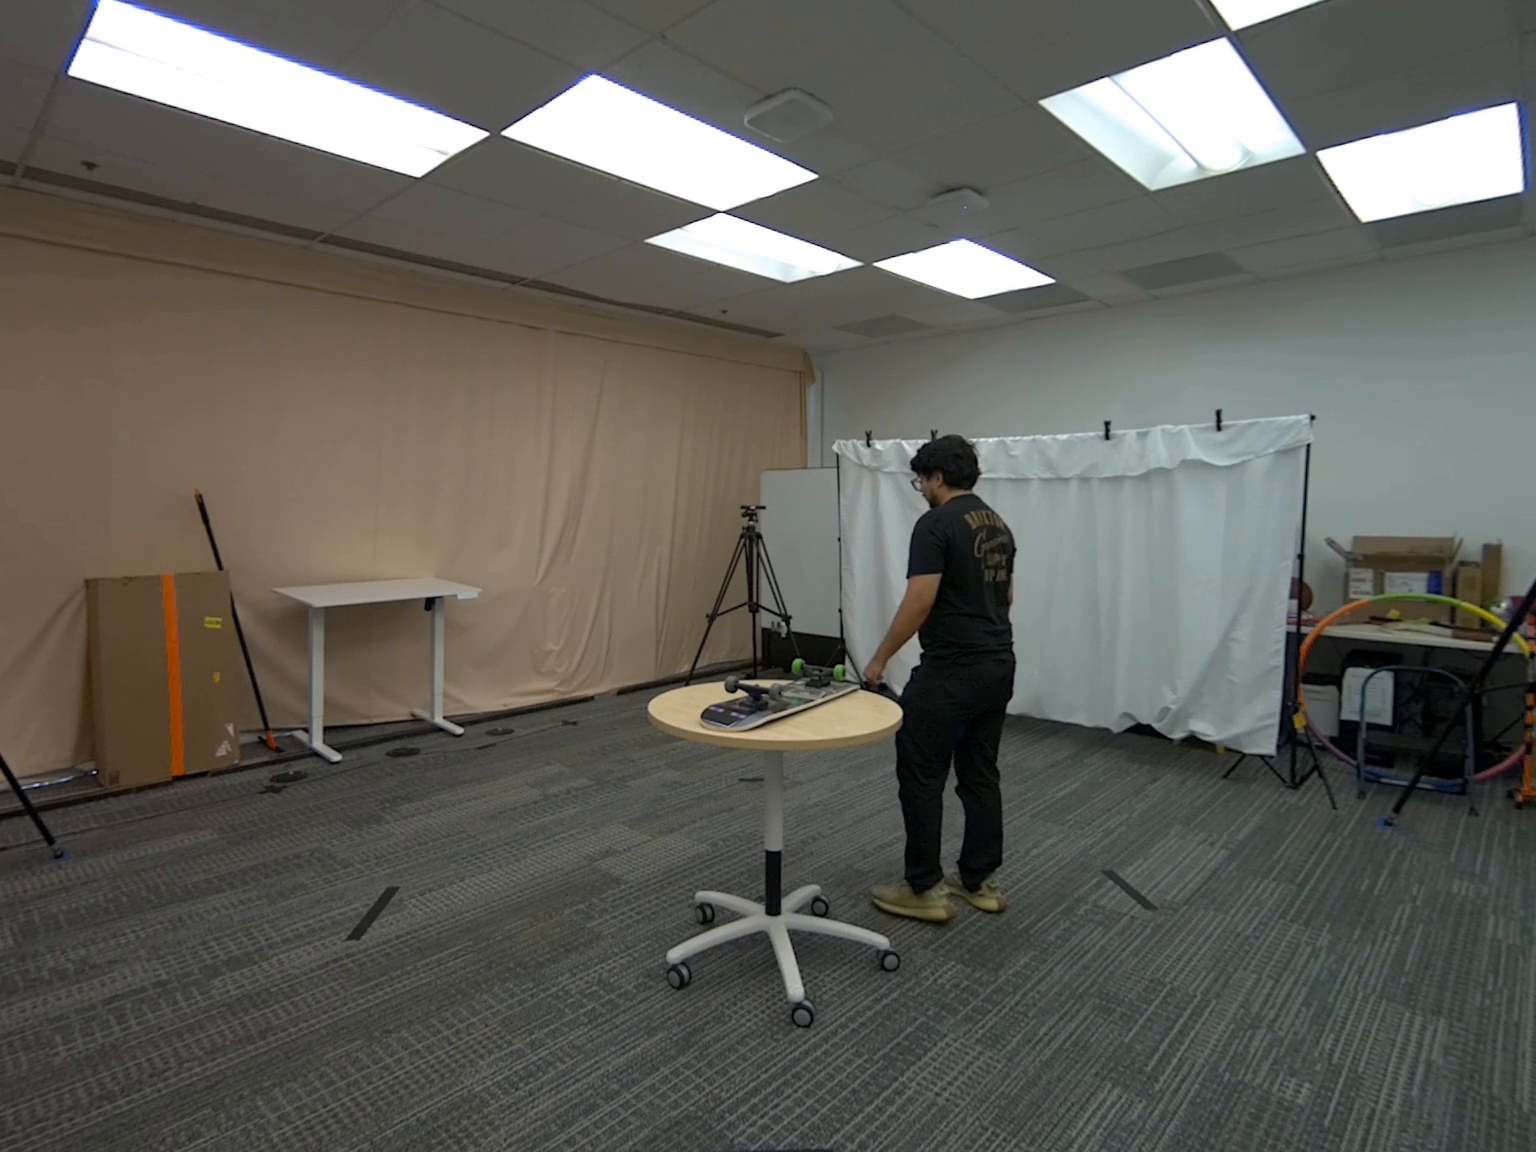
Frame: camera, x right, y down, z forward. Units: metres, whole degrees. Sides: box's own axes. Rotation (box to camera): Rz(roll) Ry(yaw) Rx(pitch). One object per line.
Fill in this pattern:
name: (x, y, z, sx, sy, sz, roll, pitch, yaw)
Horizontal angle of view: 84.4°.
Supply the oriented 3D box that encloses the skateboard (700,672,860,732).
skateboard: (0.072, 0.355, 2.573, 0.199, 0.110, 0.762, 2, 3, 35)
